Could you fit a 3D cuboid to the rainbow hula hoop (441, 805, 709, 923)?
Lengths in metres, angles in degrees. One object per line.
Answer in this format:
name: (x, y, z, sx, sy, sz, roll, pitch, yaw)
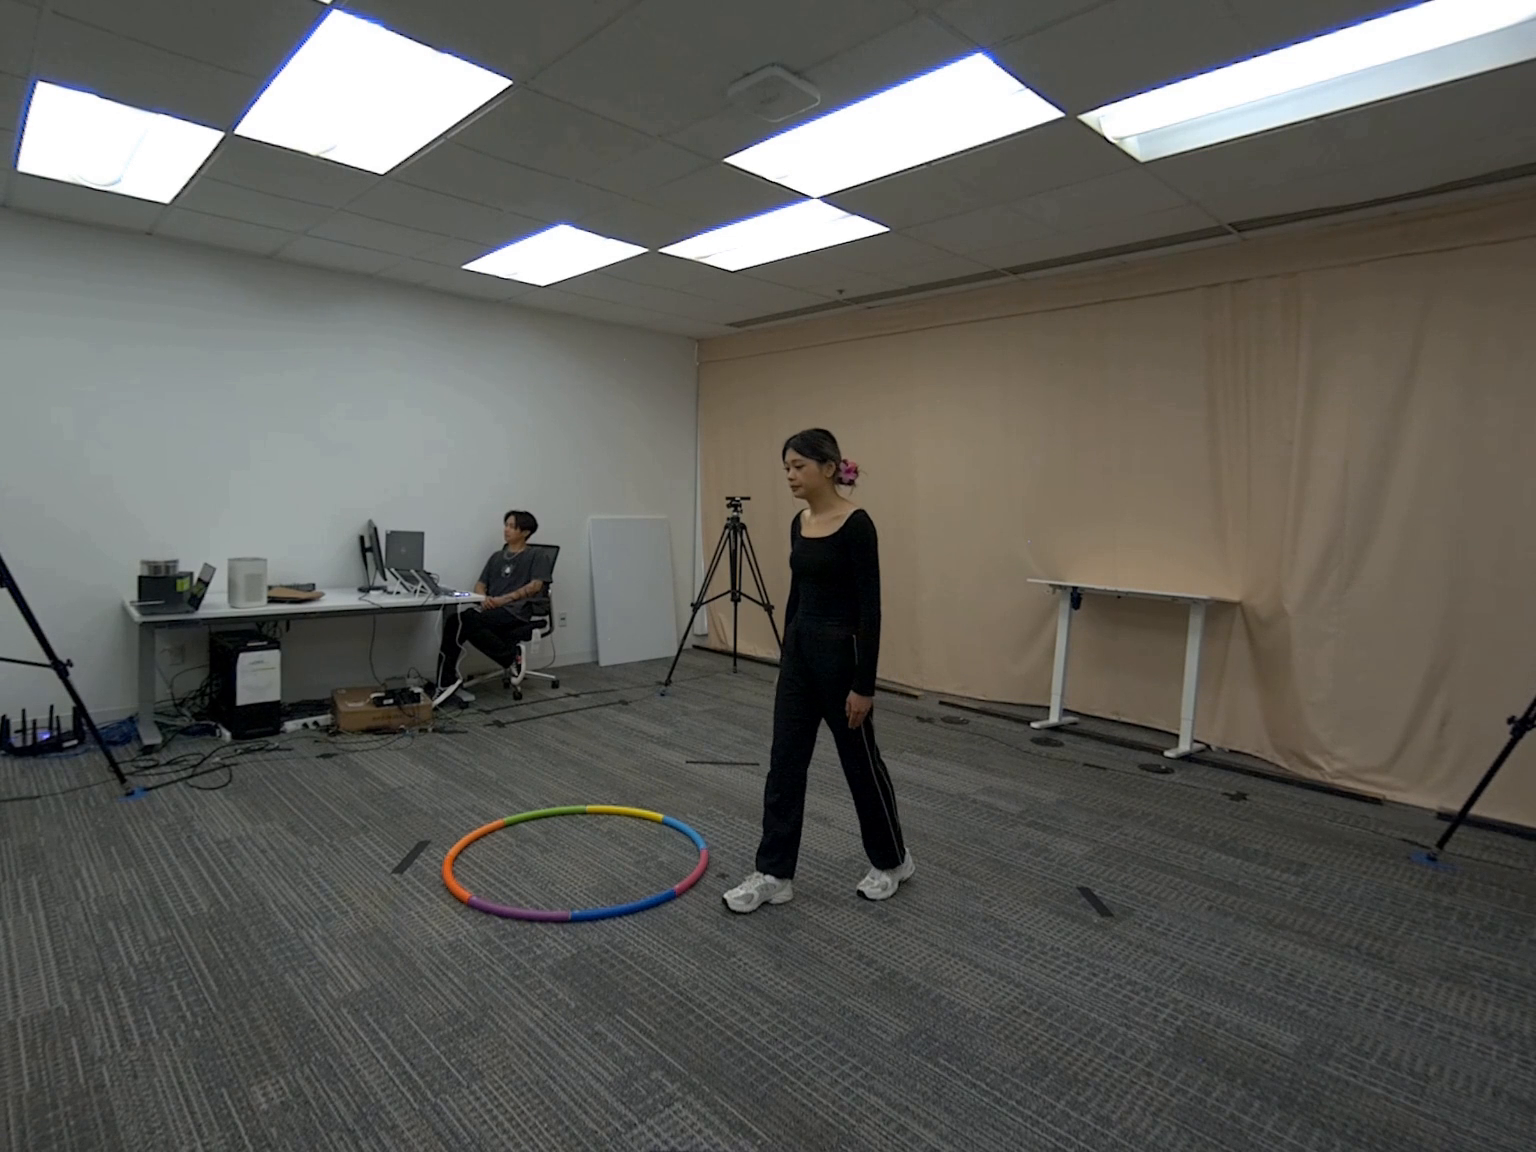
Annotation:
rainbow hula hoop: (-0.723, 1.055, 3.214, 0.978, 0.035, 0.982, 1, 5, -1)
